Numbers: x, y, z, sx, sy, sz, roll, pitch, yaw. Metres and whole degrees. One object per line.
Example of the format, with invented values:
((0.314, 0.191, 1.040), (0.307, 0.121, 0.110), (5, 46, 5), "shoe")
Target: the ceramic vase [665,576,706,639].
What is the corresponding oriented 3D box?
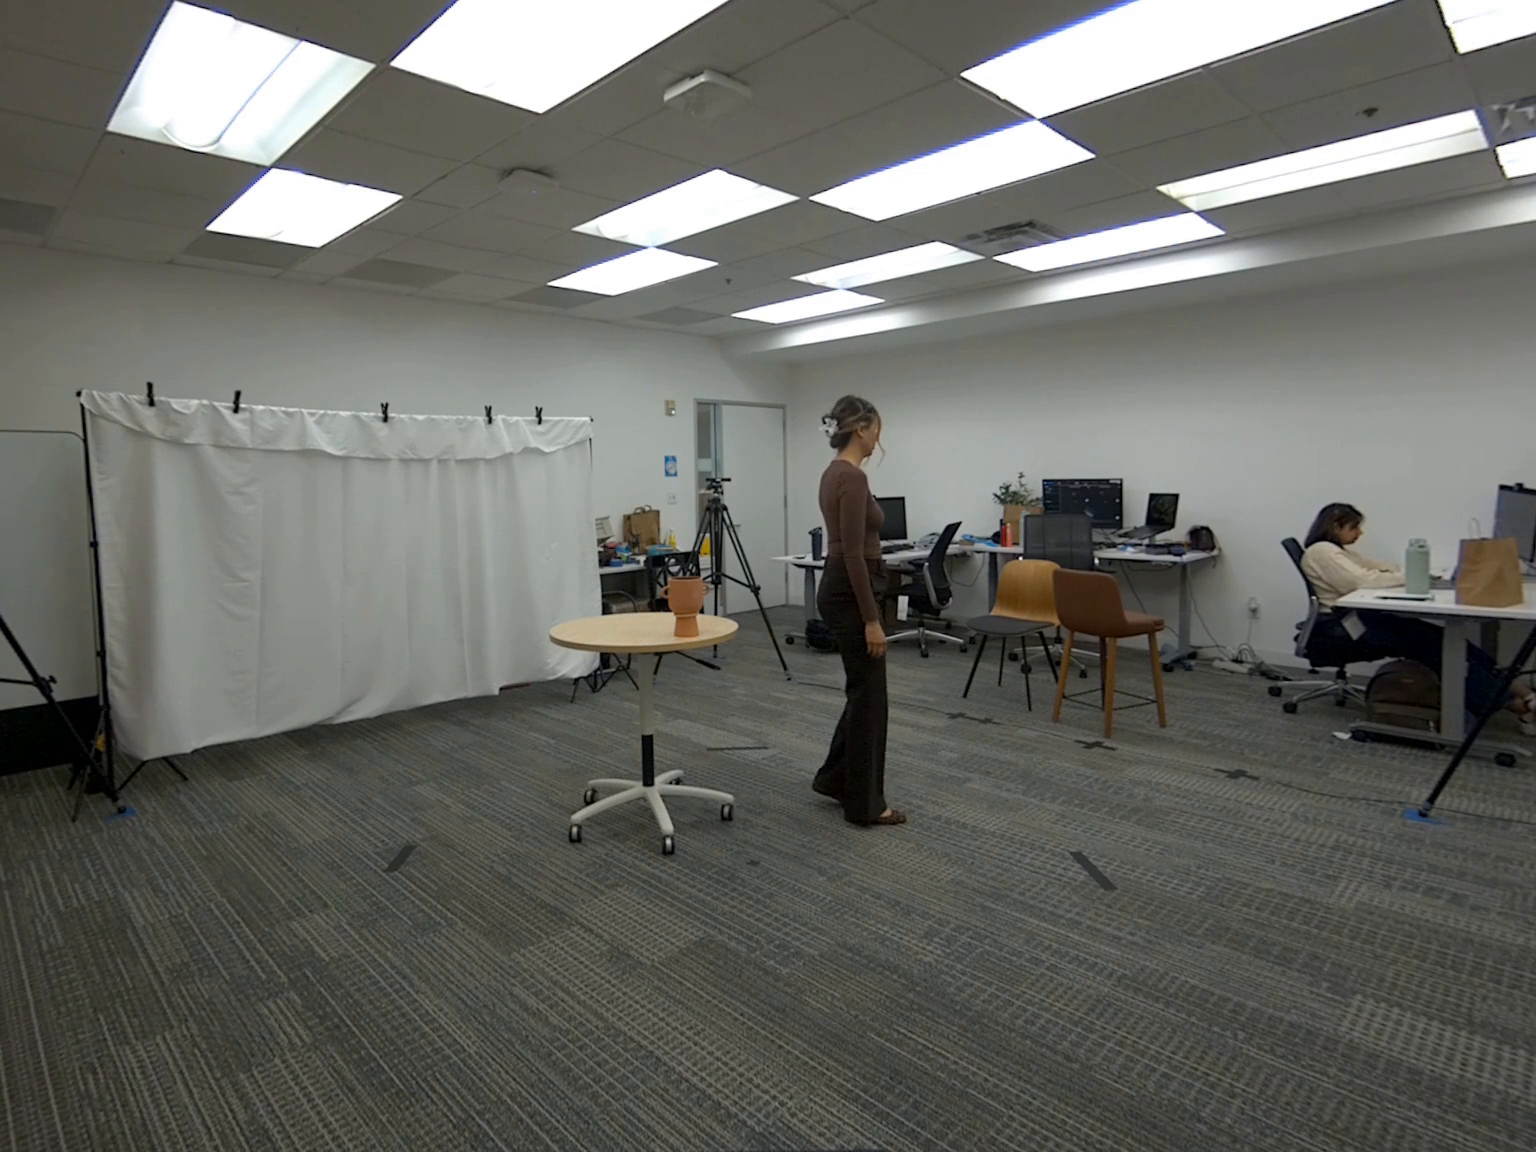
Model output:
((-0.318, 0.120, 3.294), (0.161, 0.219, 0.133), (0, 5, 15), "ceramic vase")
